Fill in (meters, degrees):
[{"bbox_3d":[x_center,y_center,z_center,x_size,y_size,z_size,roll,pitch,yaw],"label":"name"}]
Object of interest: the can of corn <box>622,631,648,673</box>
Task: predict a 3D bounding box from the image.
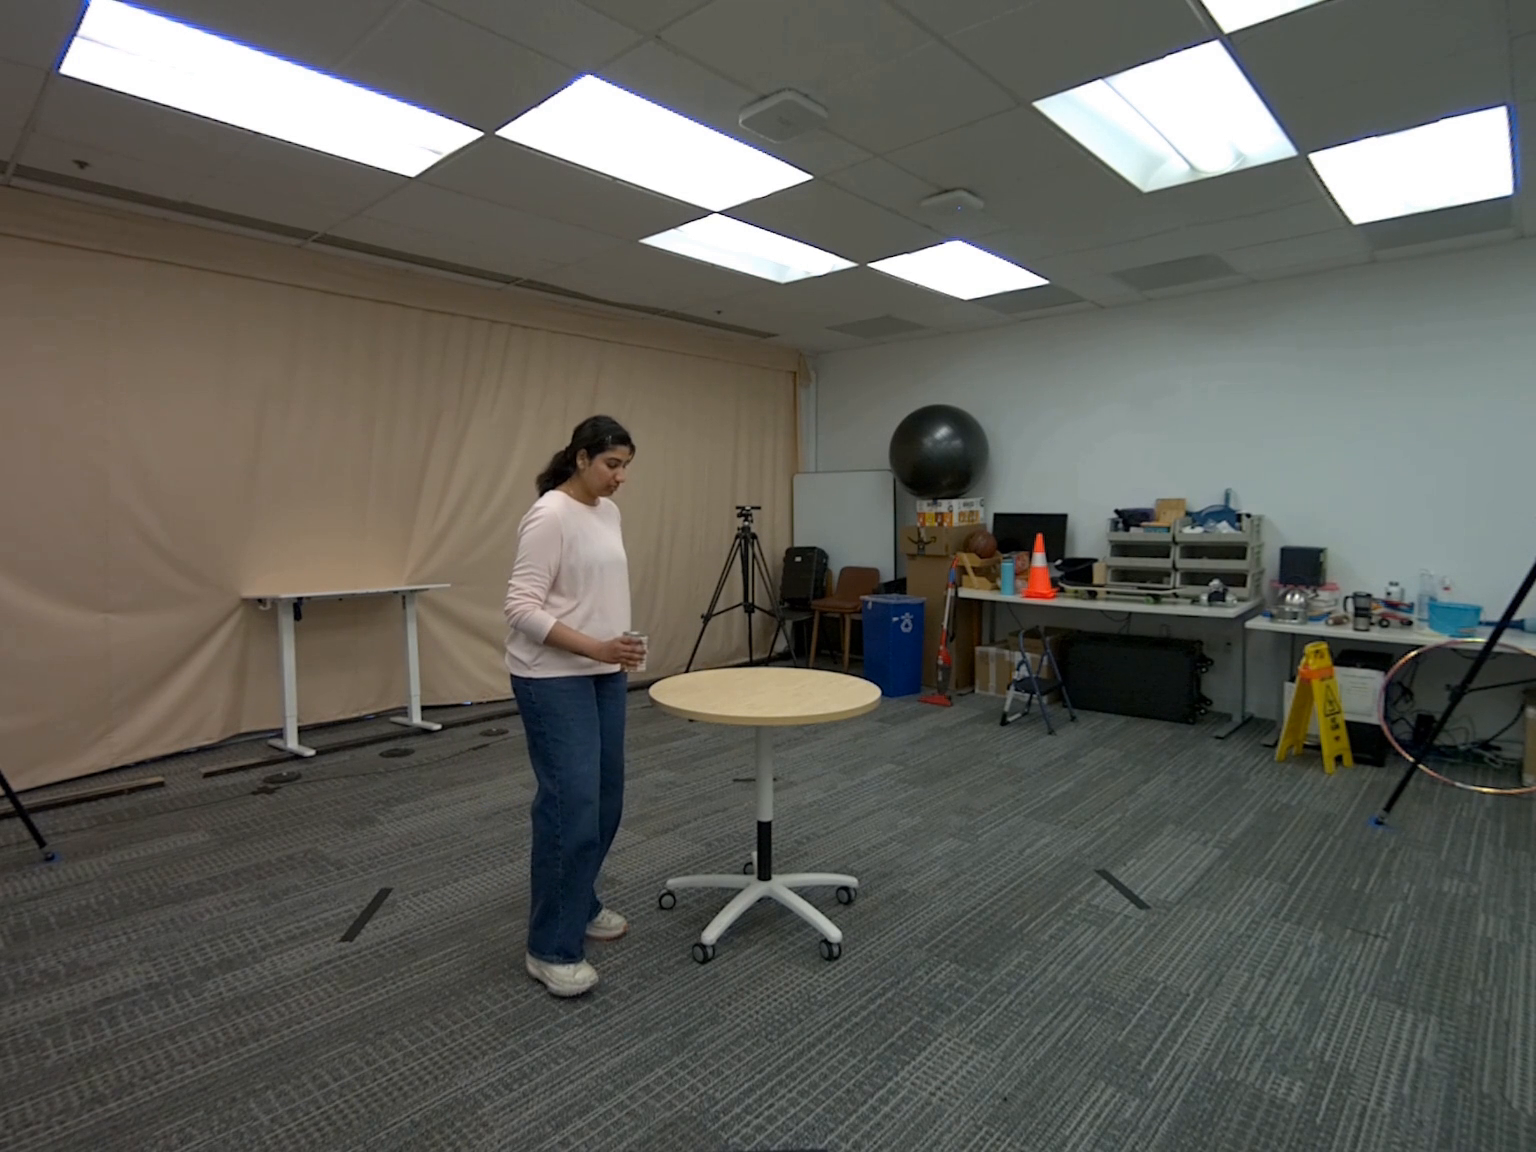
[{"bbox_3d":[-0.387,0.224,2.448,0.074,0.111,0.074,2,3,-2],"label":"can of corn"}]
